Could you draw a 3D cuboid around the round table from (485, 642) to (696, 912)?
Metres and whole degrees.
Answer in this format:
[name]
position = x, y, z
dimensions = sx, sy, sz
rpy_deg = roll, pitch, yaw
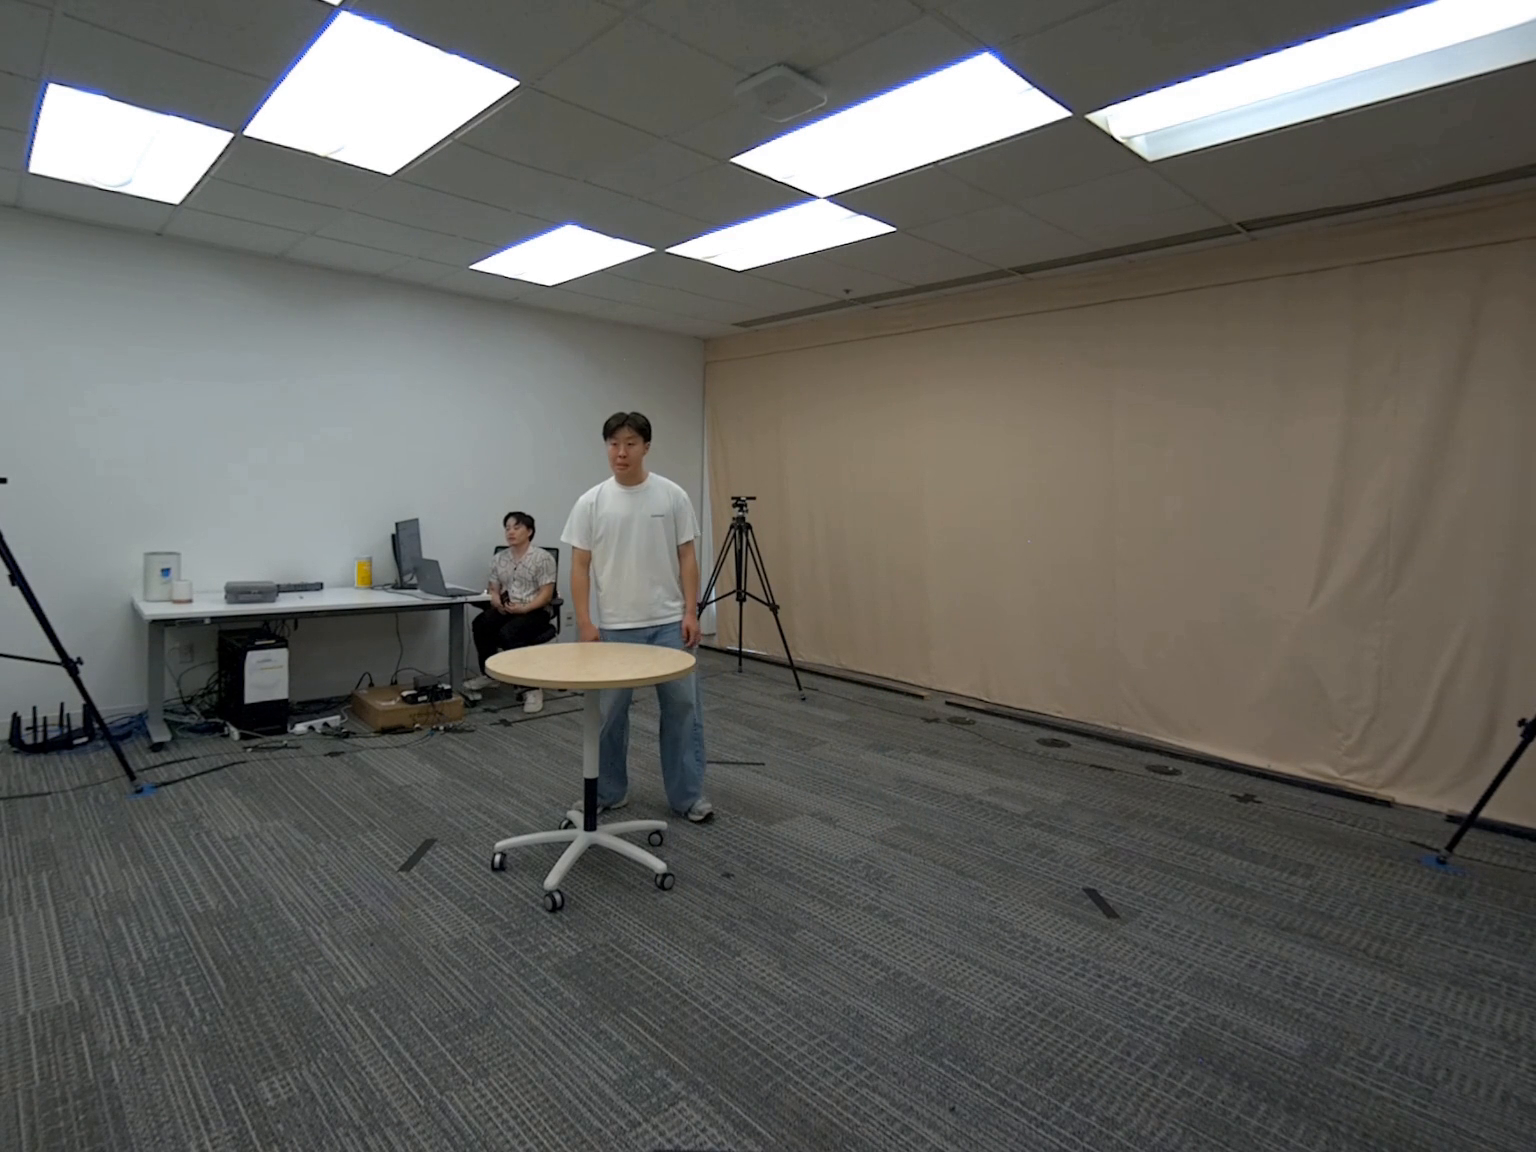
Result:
[round table]
position = -0.673, 0.699, 3.142
dimensions = 0.784, 0.784, 0.788
rpy_deg = 1, 4, -1
